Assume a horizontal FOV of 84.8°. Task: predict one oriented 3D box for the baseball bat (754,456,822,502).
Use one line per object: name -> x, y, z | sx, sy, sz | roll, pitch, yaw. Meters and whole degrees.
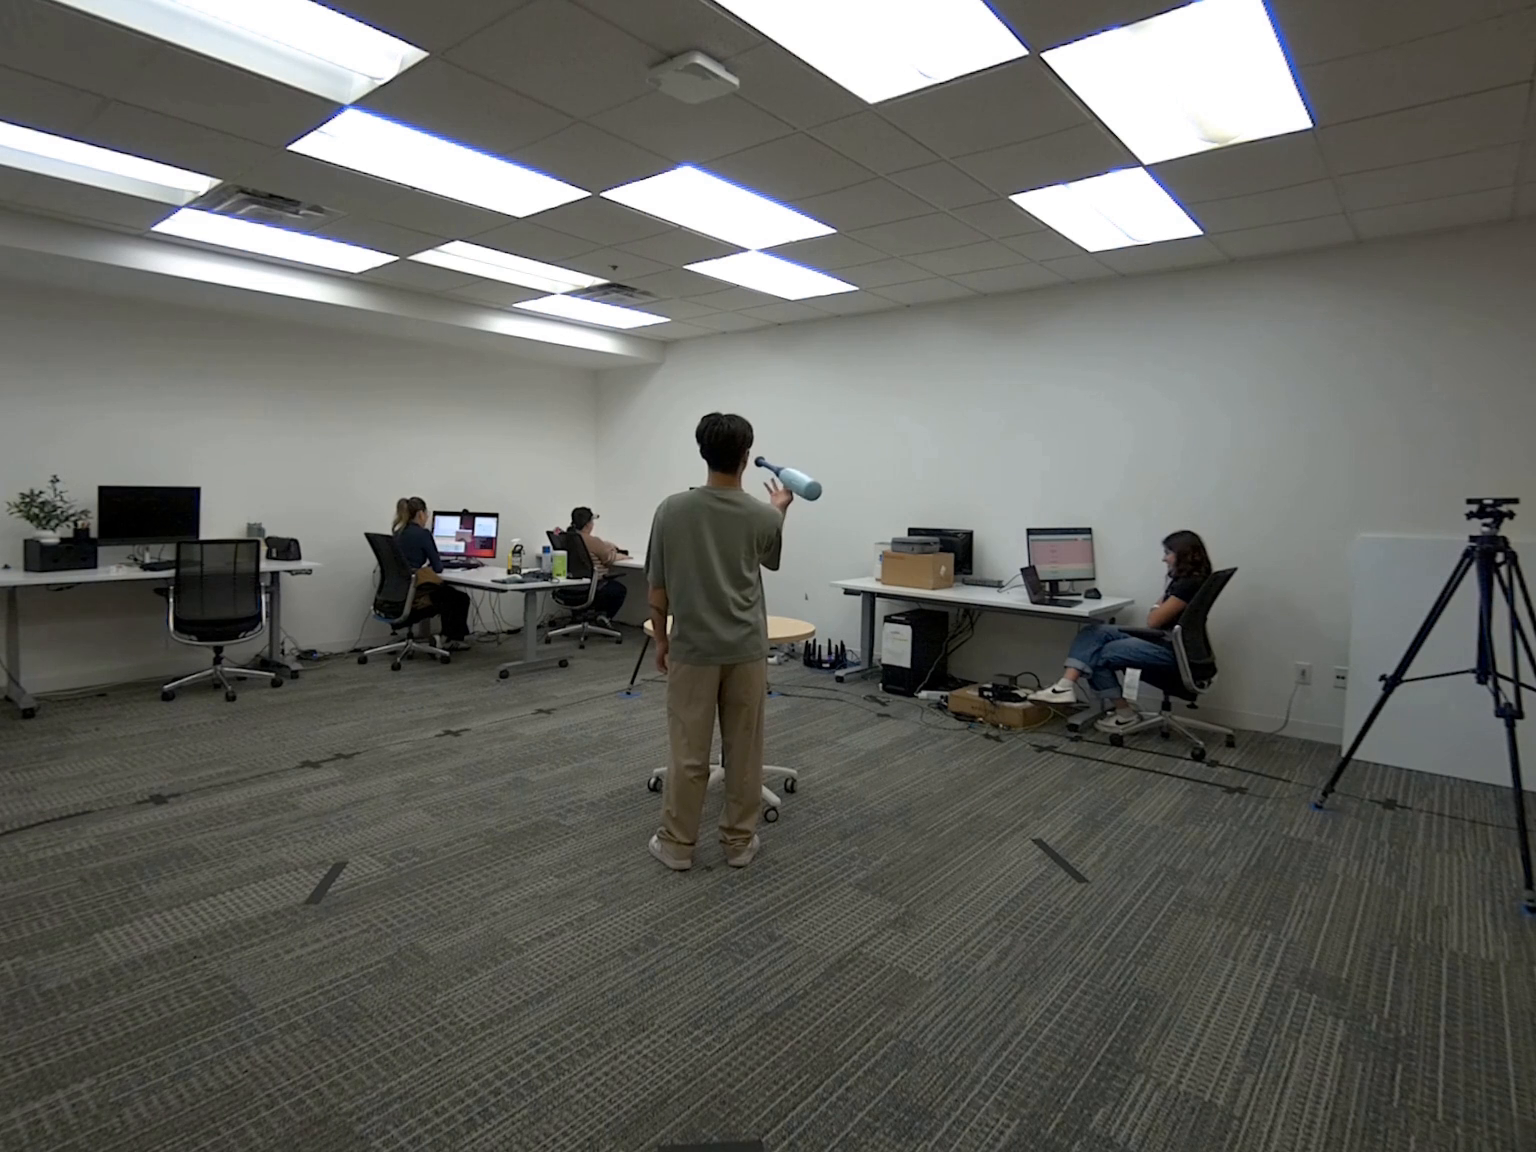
baseball bat -> 0.058, -0.409, 3.581 | 0.087, 0.088, 0.563 | -1, 19, -25
